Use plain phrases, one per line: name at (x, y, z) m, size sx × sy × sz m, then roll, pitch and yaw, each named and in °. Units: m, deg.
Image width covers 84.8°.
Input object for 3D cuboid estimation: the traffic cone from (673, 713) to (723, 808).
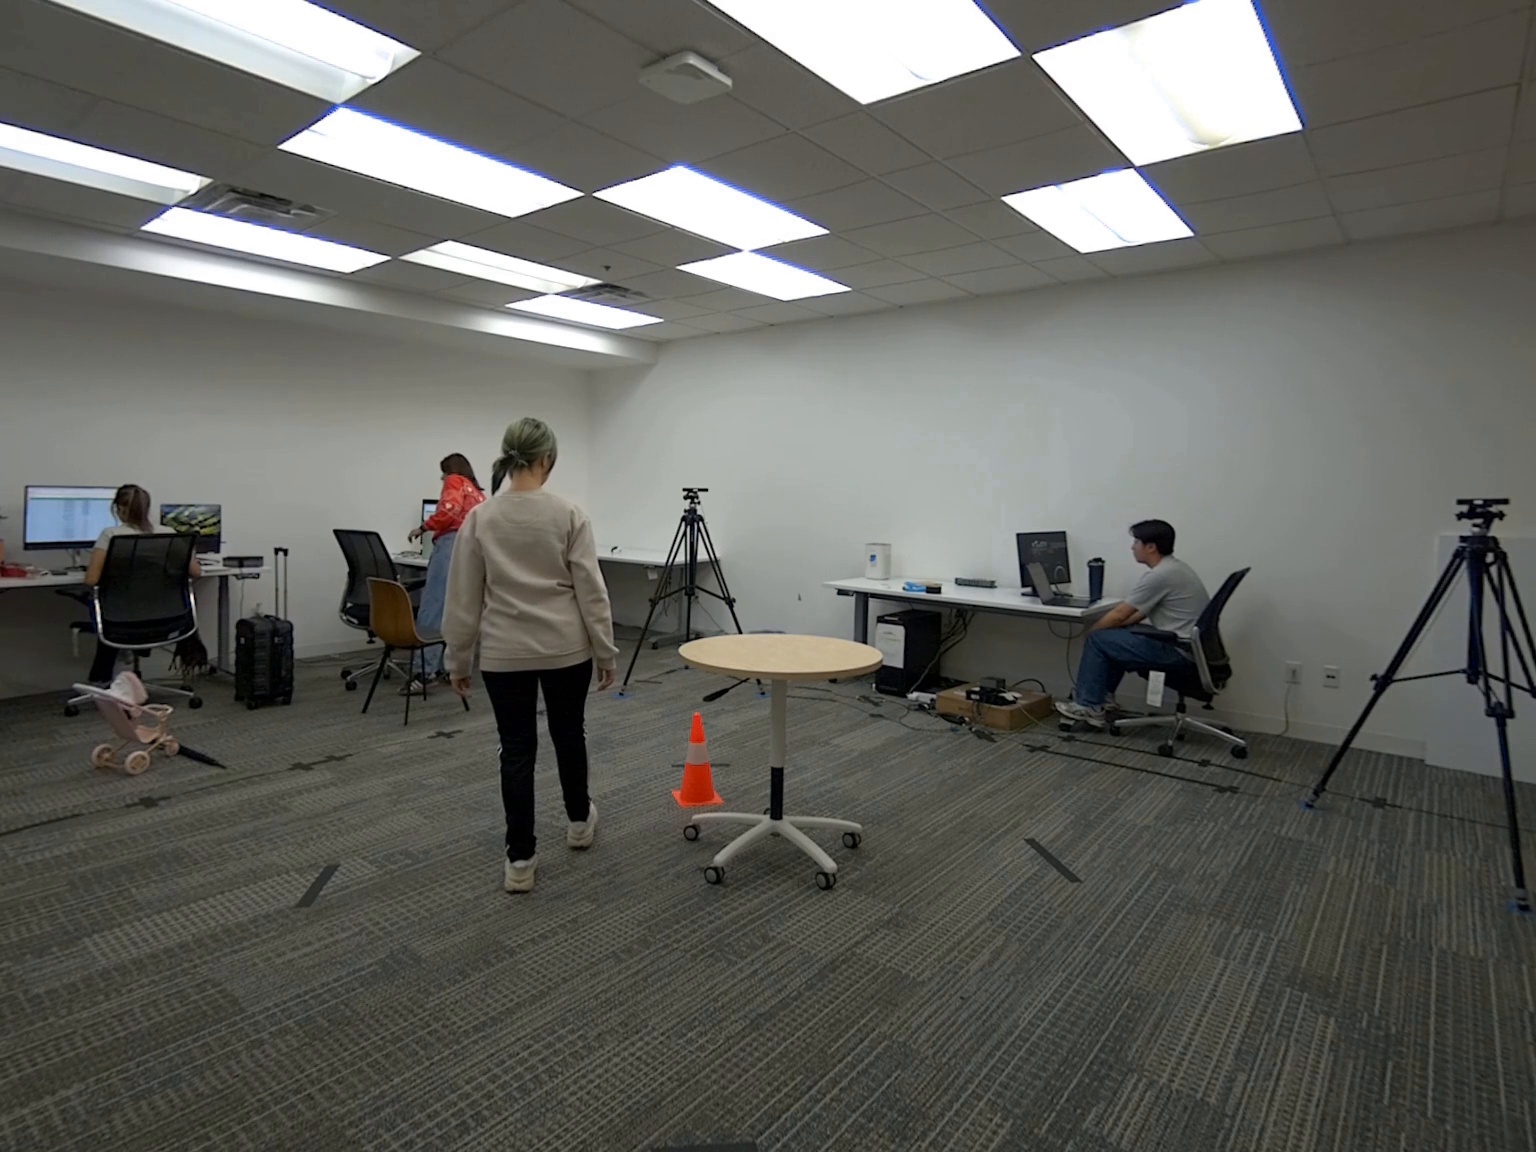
traffic cone at (-0.332, 0.813, 3.841) m, size 0.200 × 0.383 × 0.209 m, roll 0°, pitch 2°, yaw -17°
